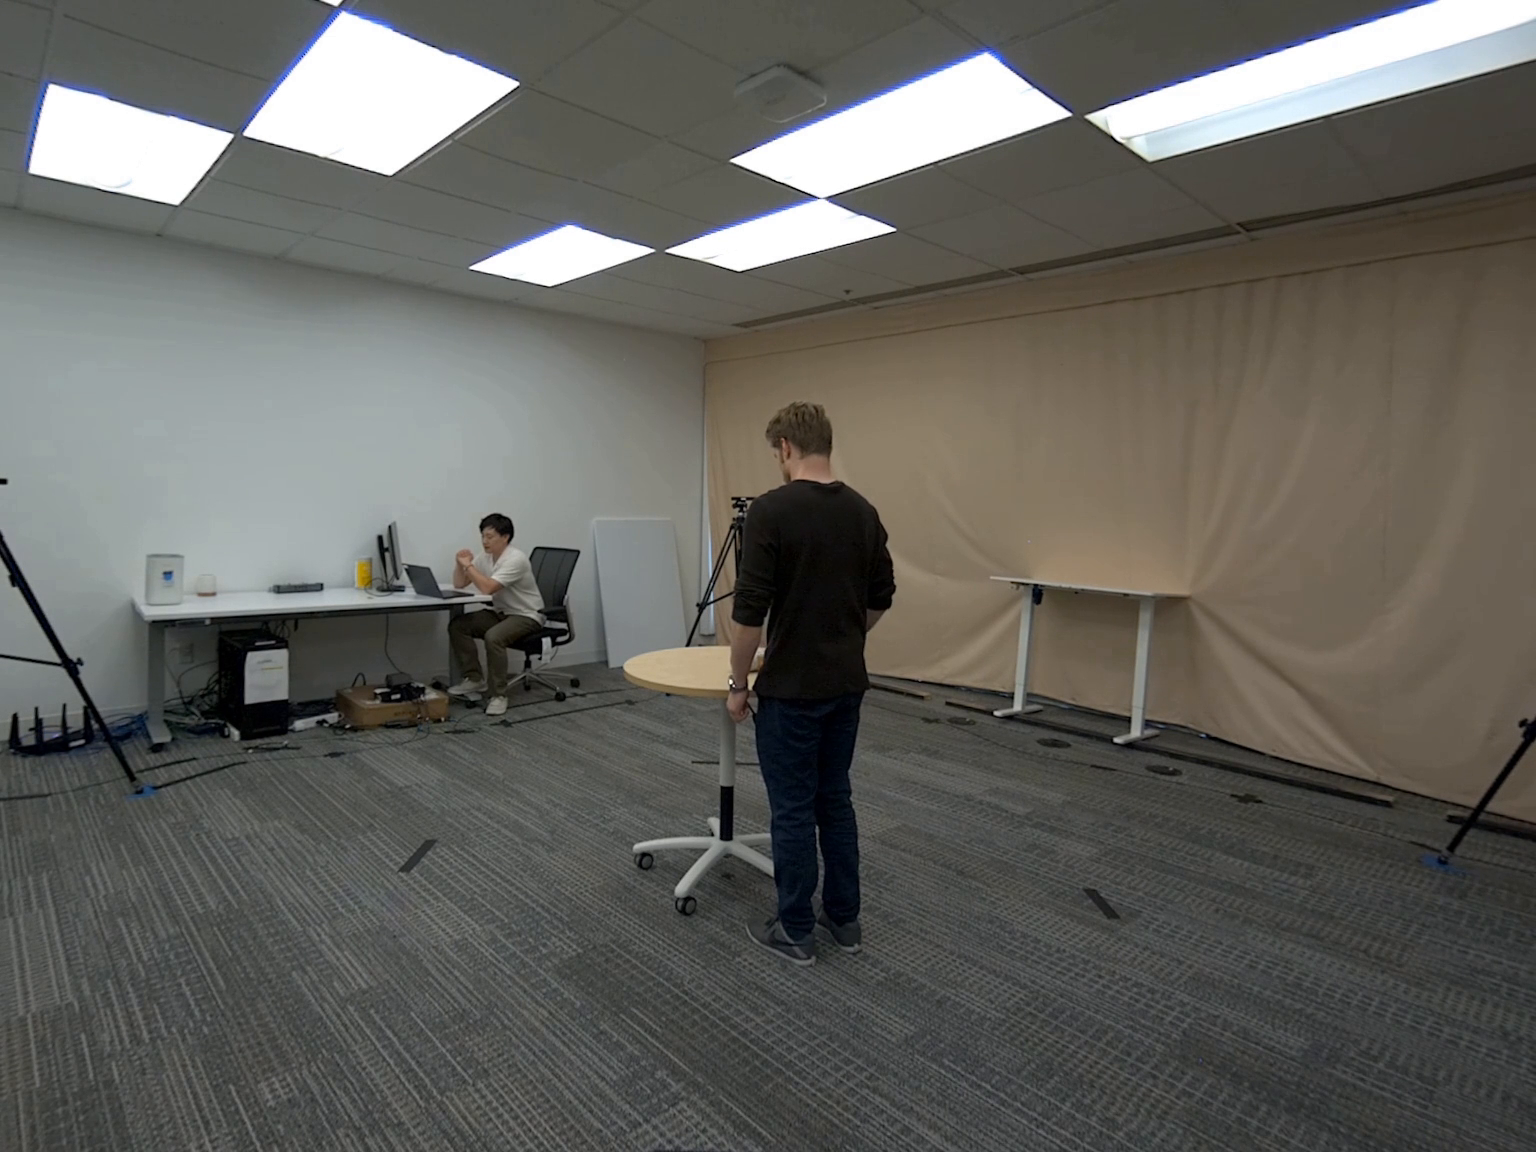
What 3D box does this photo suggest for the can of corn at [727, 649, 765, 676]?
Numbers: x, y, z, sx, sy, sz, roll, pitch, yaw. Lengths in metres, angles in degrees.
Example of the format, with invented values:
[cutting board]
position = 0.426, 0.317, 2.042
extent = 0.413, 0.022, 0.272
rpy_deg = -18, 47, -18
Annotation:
[can of corn]
position = -0.078, 0.301, 2.967
extent = 0.109, 0.074, 0.076
rpy_deg = -2, 5, -25
